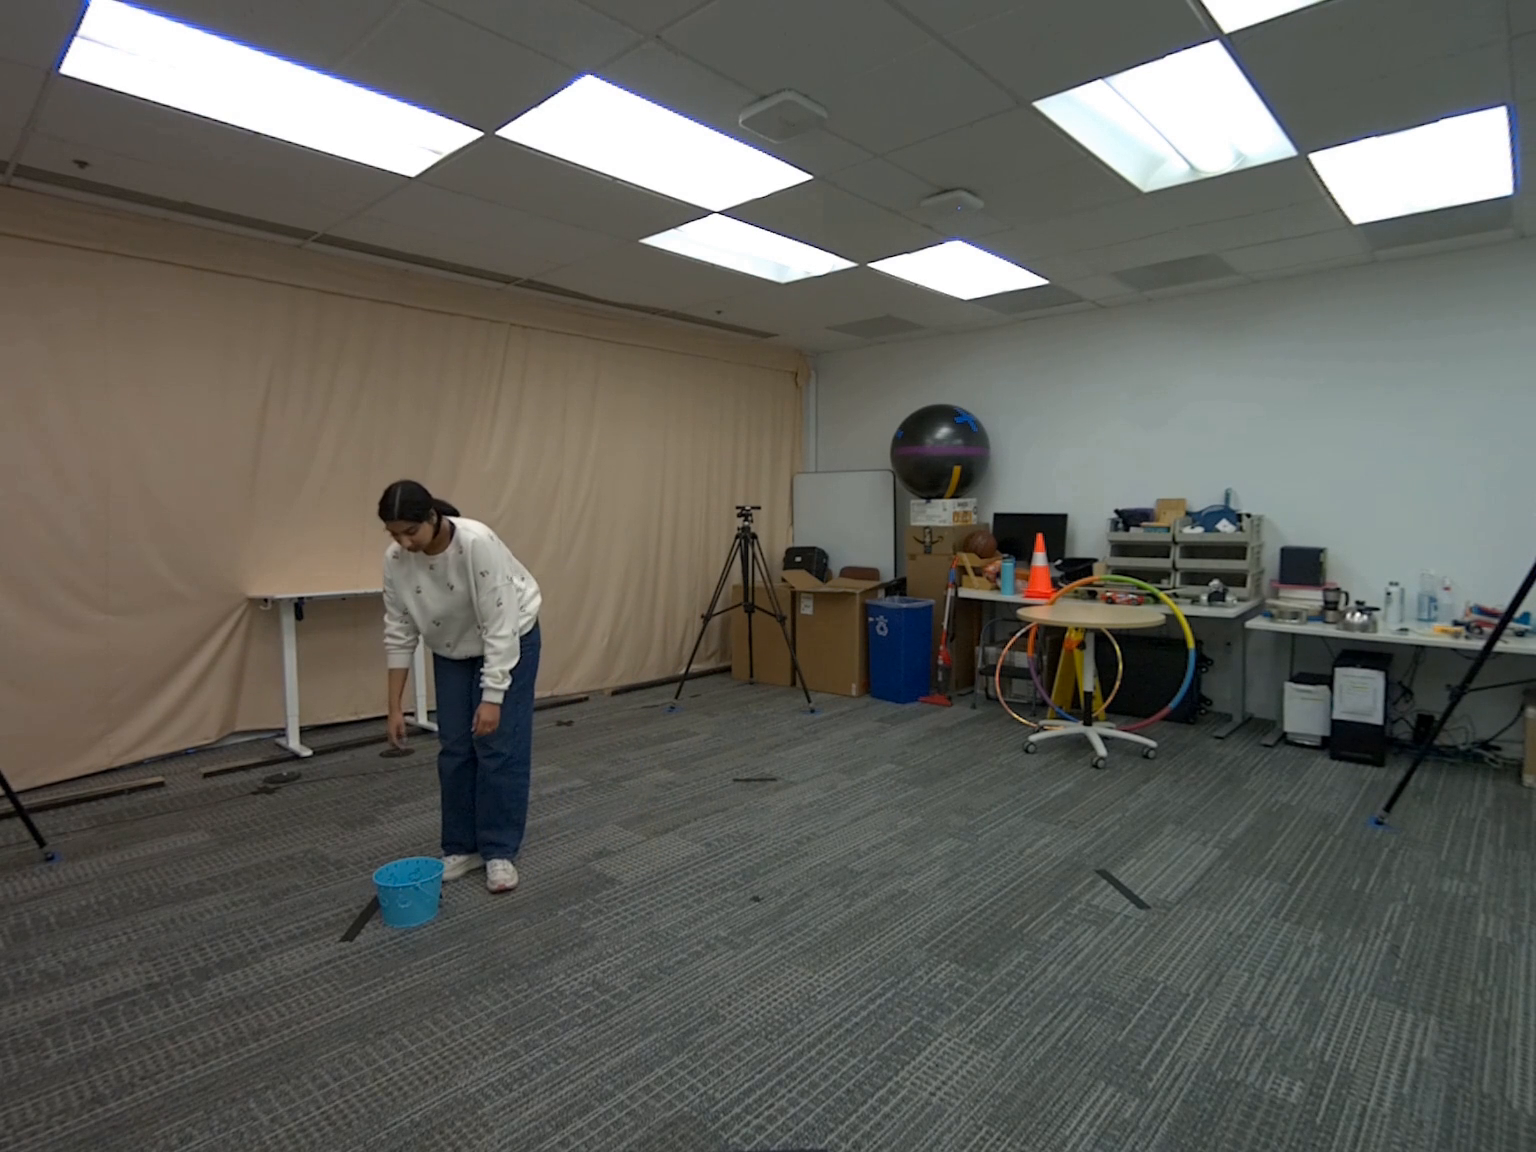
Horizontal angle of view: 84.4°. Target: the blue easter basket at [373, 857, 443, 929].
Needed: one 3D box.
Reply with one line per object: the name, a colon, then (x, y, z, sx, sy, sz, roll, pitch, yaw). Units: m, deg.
blue easter basket: (-1.222, 1.079, 2.885, 0.243, 0.155, 0.244, -1, 5, -2)
